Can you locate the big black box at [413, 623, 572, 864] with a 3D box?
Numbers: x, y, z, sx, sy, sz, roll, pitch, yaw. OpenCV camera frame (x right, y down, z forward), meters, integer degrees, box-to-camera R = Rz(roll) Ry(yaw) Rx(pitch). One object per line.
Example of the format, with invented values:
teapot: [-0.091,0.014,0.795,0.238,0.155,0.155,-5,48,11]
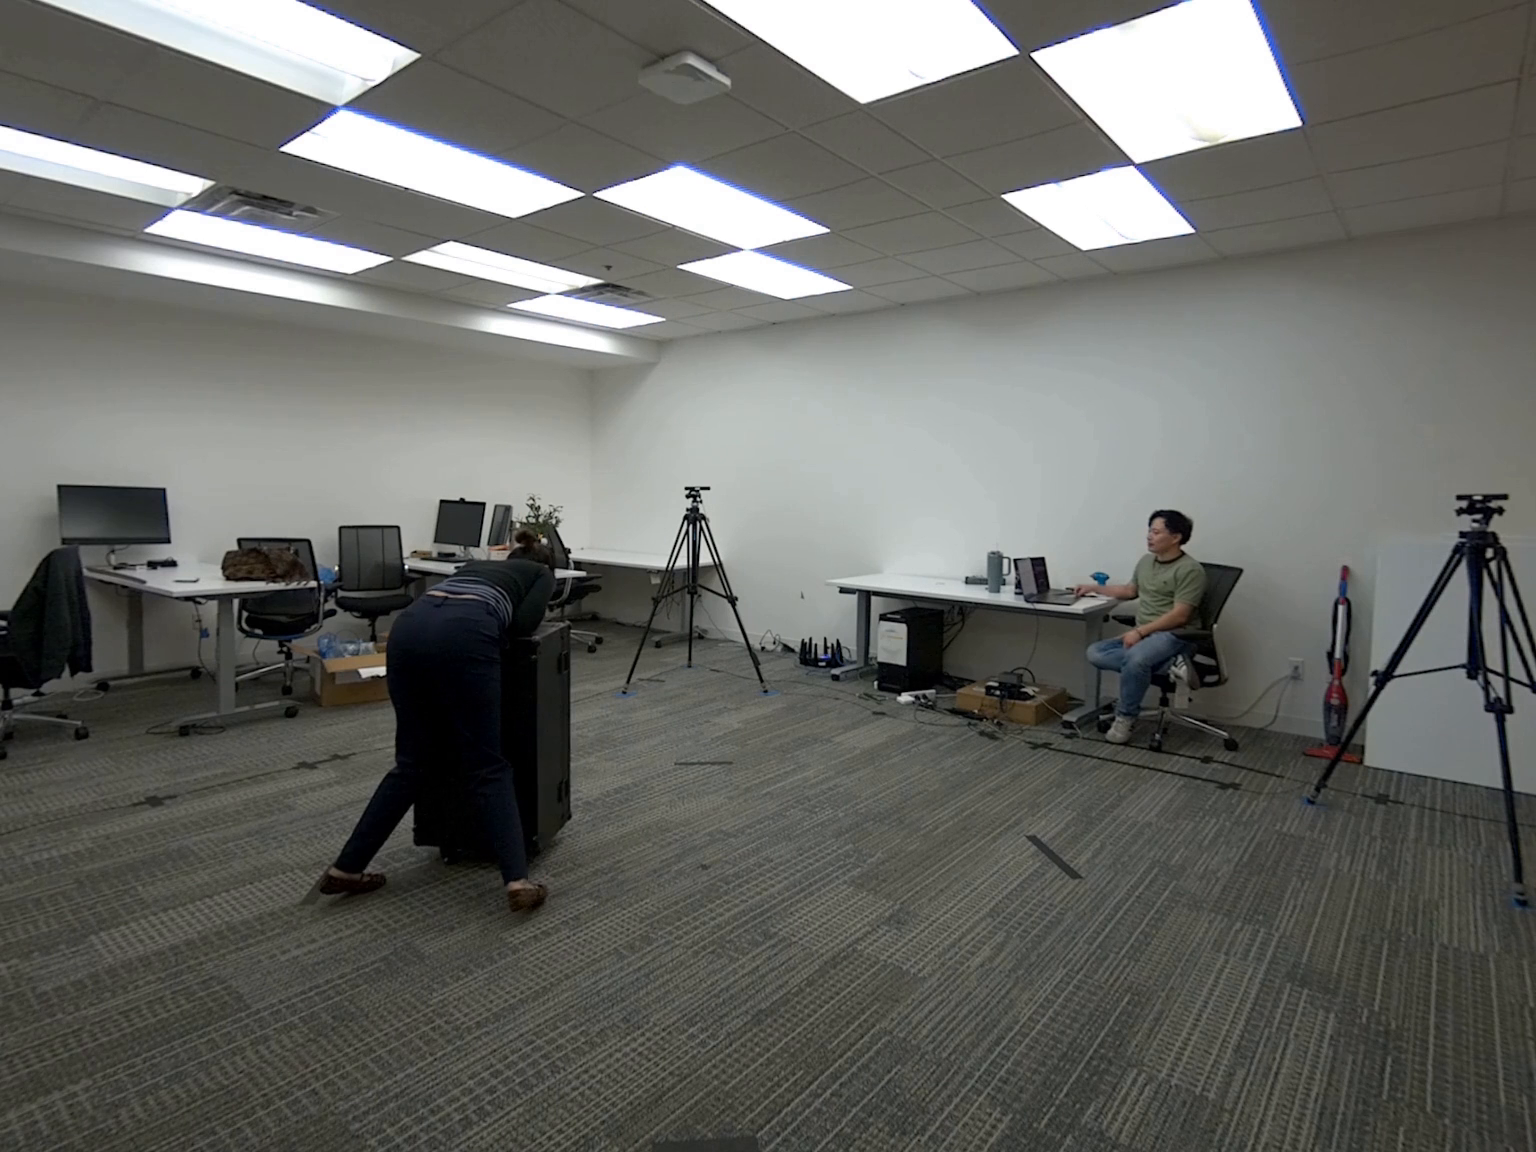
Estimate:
big black box: [-1.042,0.625,3.214,0.527,0.858,0.394,2,5,9]
